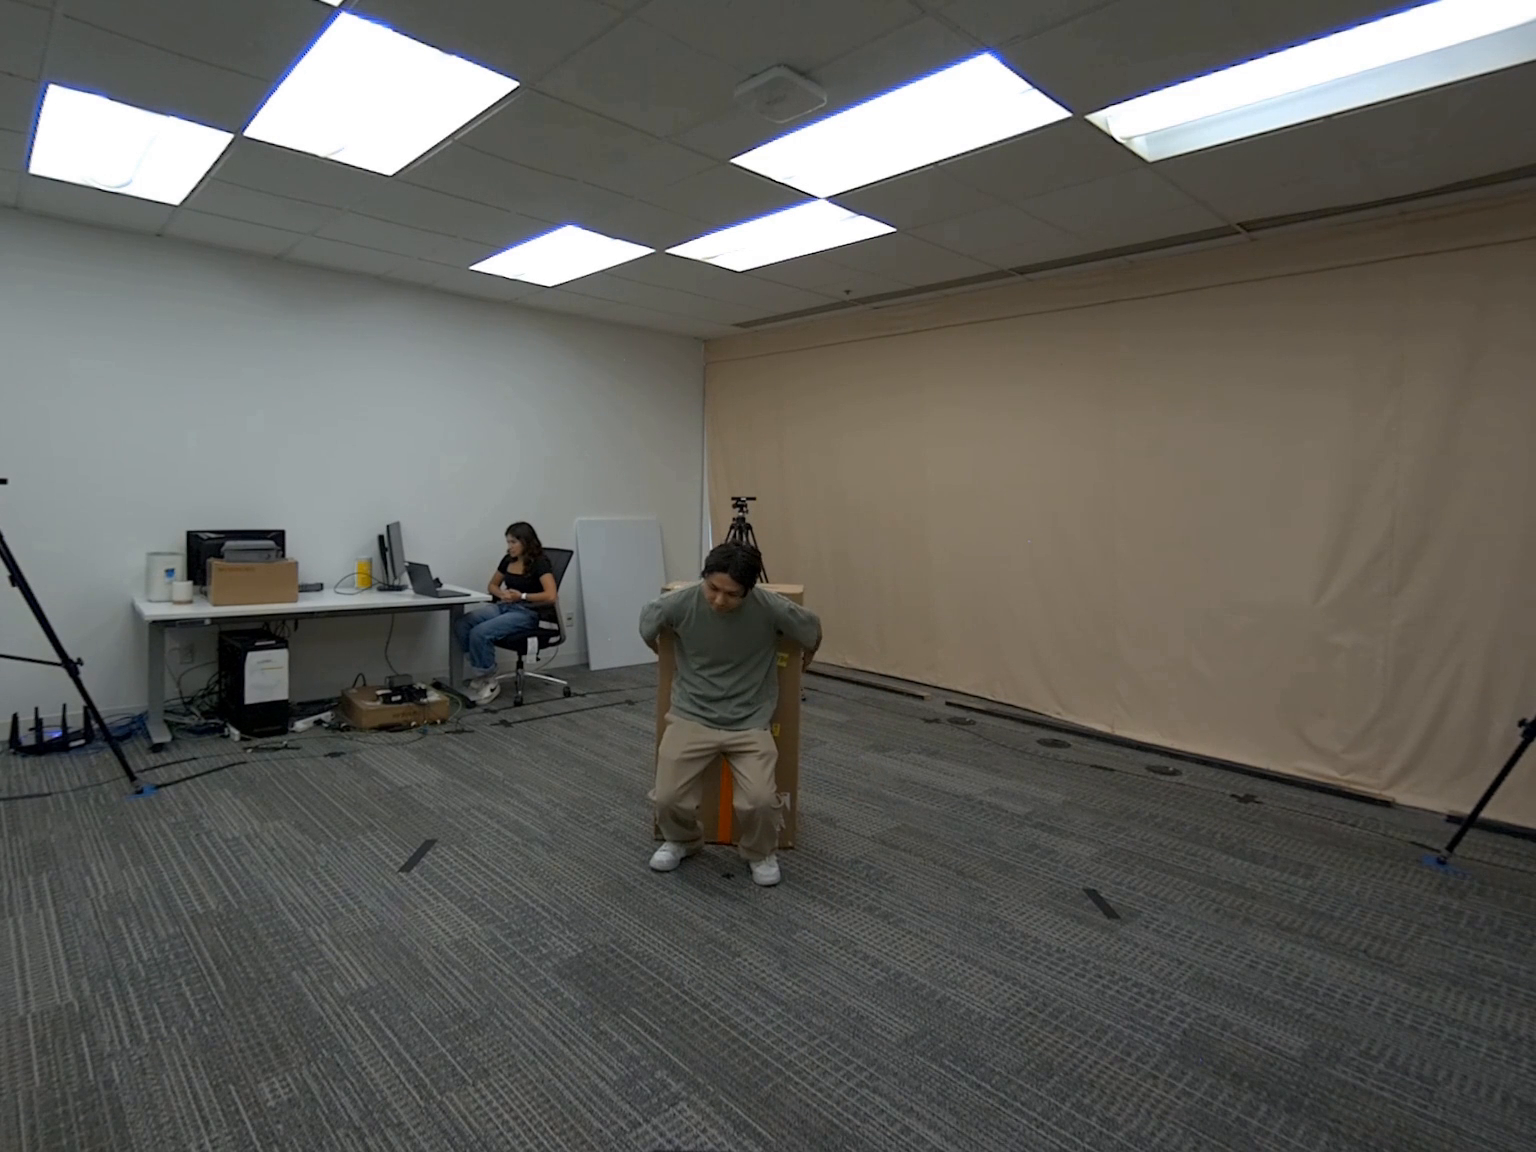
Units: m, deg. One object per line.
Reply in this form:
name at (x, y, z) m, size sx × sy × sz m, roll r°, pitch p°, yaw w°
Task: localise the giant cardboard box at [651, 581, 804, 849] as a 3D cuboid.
giant cardboard box at (-0.159, 0.554, 3.583) m, size 0.580 × 1.025 × 0.425 m, roll 2°, pitch 1°, yaw 5°
